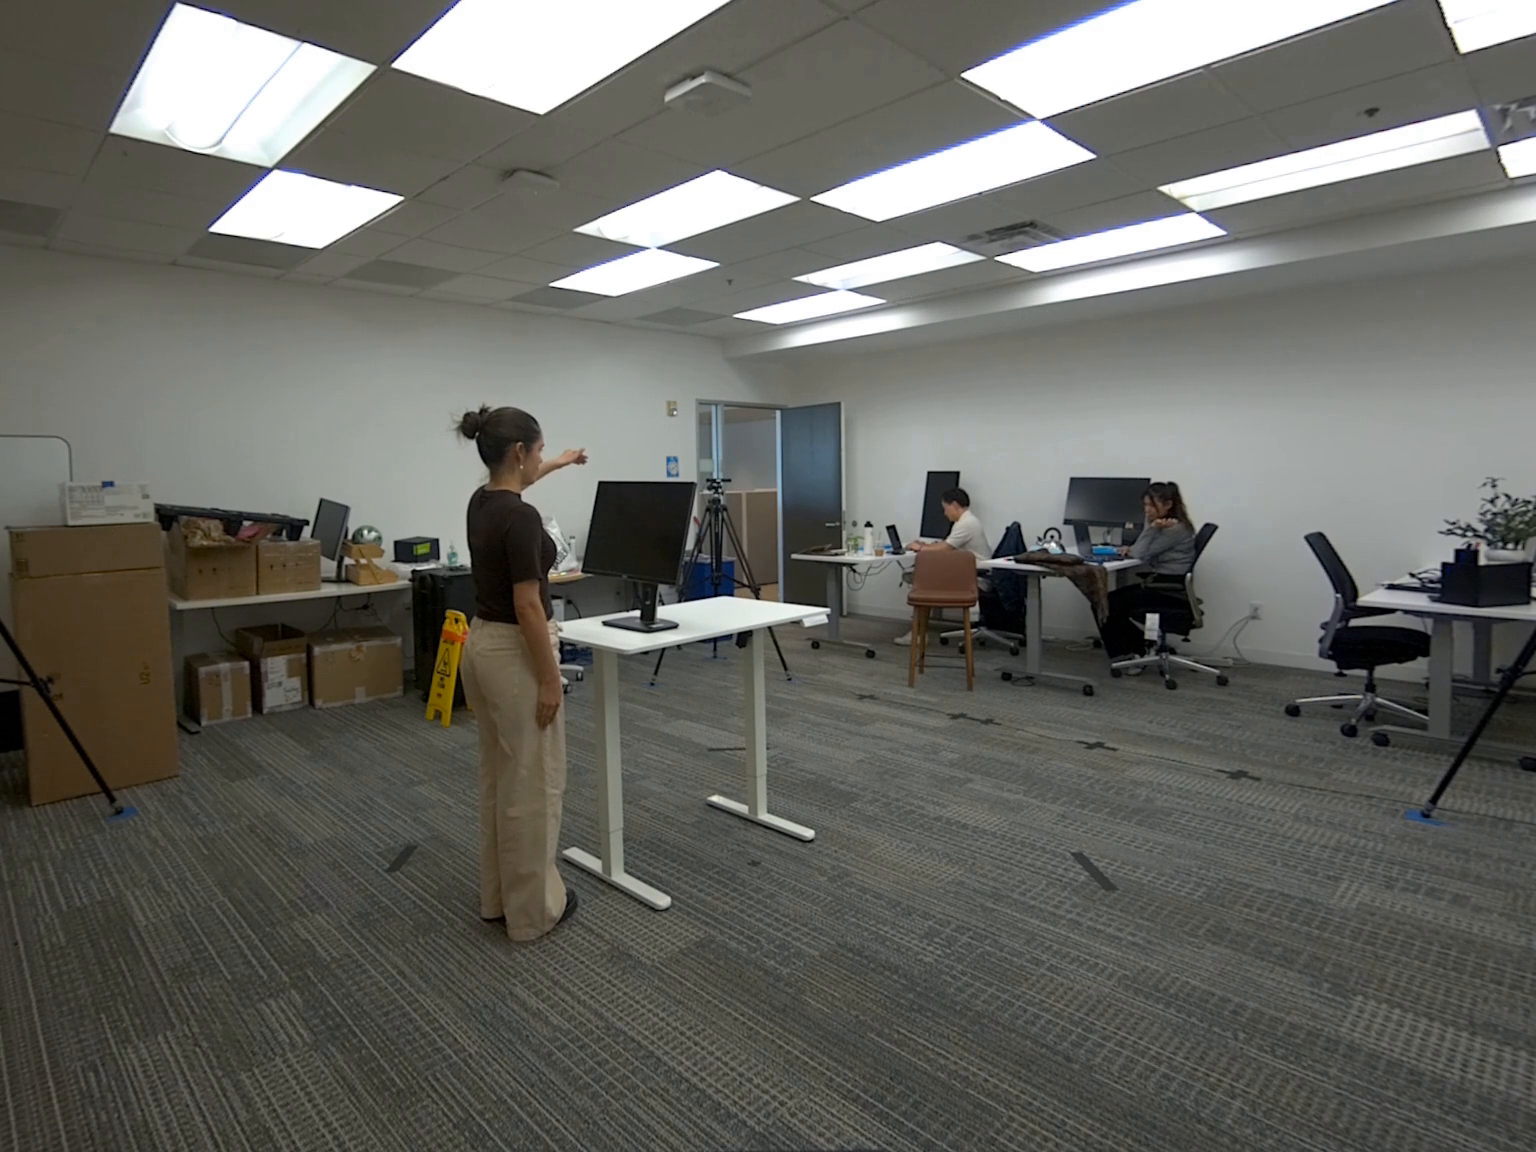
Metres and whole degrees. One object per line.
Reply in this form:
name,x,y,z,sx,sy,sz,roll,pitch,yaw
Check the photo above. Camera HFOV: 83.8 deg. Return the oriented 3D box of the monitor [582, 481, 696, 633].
monitor,-0.447,-0.072,3.032,0.556,0.521,0.182,5,4,43
